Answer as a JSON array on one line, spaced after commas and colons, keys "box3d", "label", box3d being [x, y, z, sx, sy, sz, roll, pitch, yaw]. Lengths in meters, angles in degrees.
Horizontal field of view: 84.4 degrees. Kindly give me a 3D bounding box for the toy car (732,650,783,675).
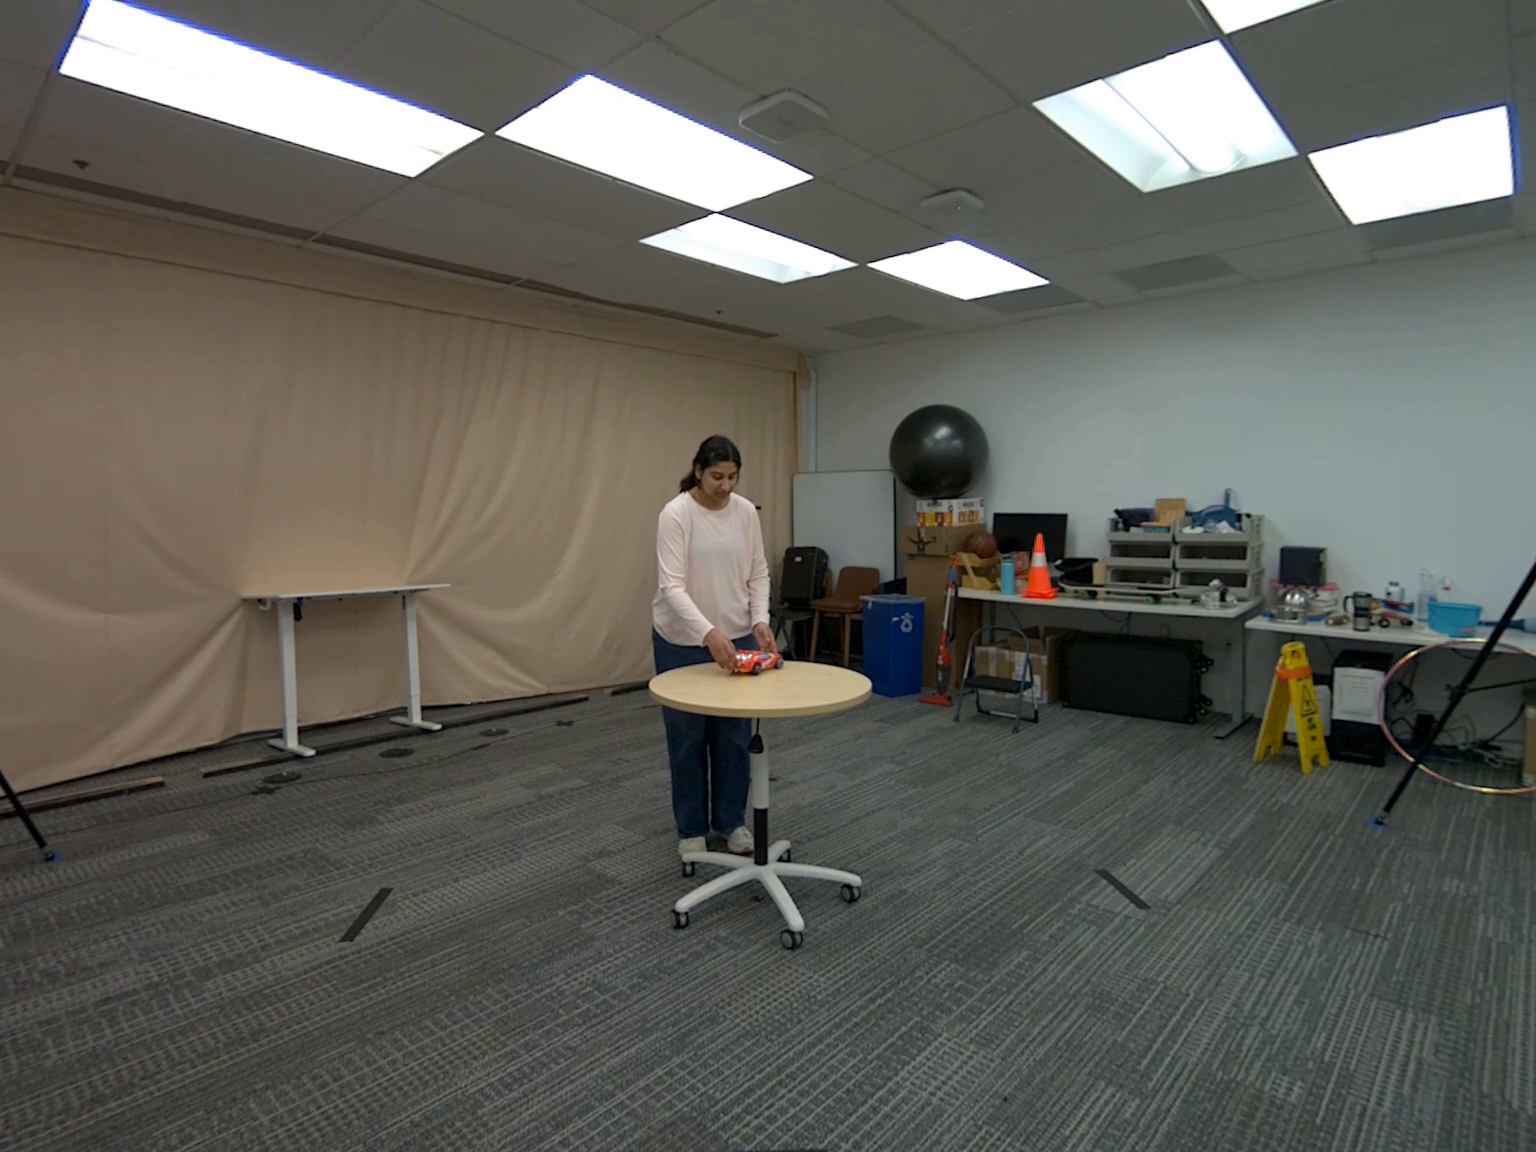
[{"box3d": [-0.053, 0.318, 3.091, 0.134, 0.083, 0.246, 3, -5, 37], "label": "toy car"}]
